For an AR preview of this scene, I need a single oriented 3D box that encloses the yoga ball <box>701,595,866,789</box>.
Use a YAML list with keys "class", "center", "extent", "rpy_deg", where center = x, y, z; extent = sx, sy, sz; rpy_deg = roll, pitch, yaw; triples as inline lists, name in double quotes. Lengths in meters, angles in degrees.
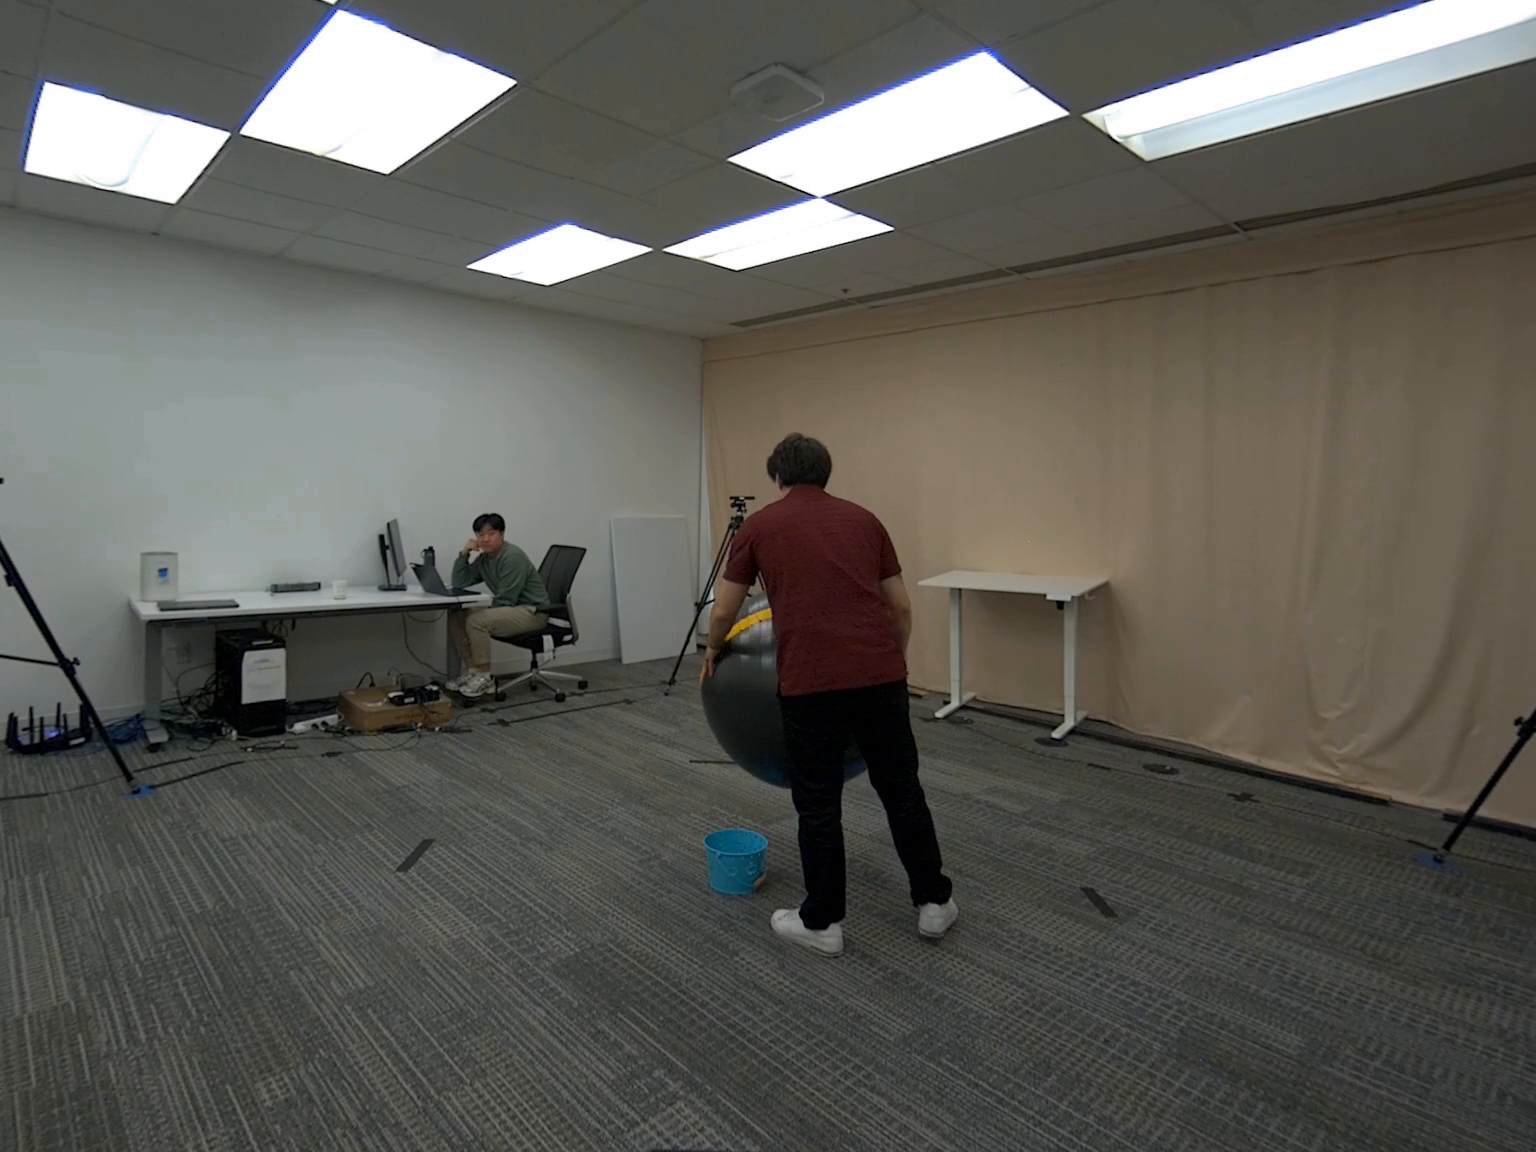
- class: "yoga ball"
  center: [0.126, 0.413, 3.146]
  extent: [0.757, 0.756, 0.761]
  rpy_deg: [1, 4, -1]
